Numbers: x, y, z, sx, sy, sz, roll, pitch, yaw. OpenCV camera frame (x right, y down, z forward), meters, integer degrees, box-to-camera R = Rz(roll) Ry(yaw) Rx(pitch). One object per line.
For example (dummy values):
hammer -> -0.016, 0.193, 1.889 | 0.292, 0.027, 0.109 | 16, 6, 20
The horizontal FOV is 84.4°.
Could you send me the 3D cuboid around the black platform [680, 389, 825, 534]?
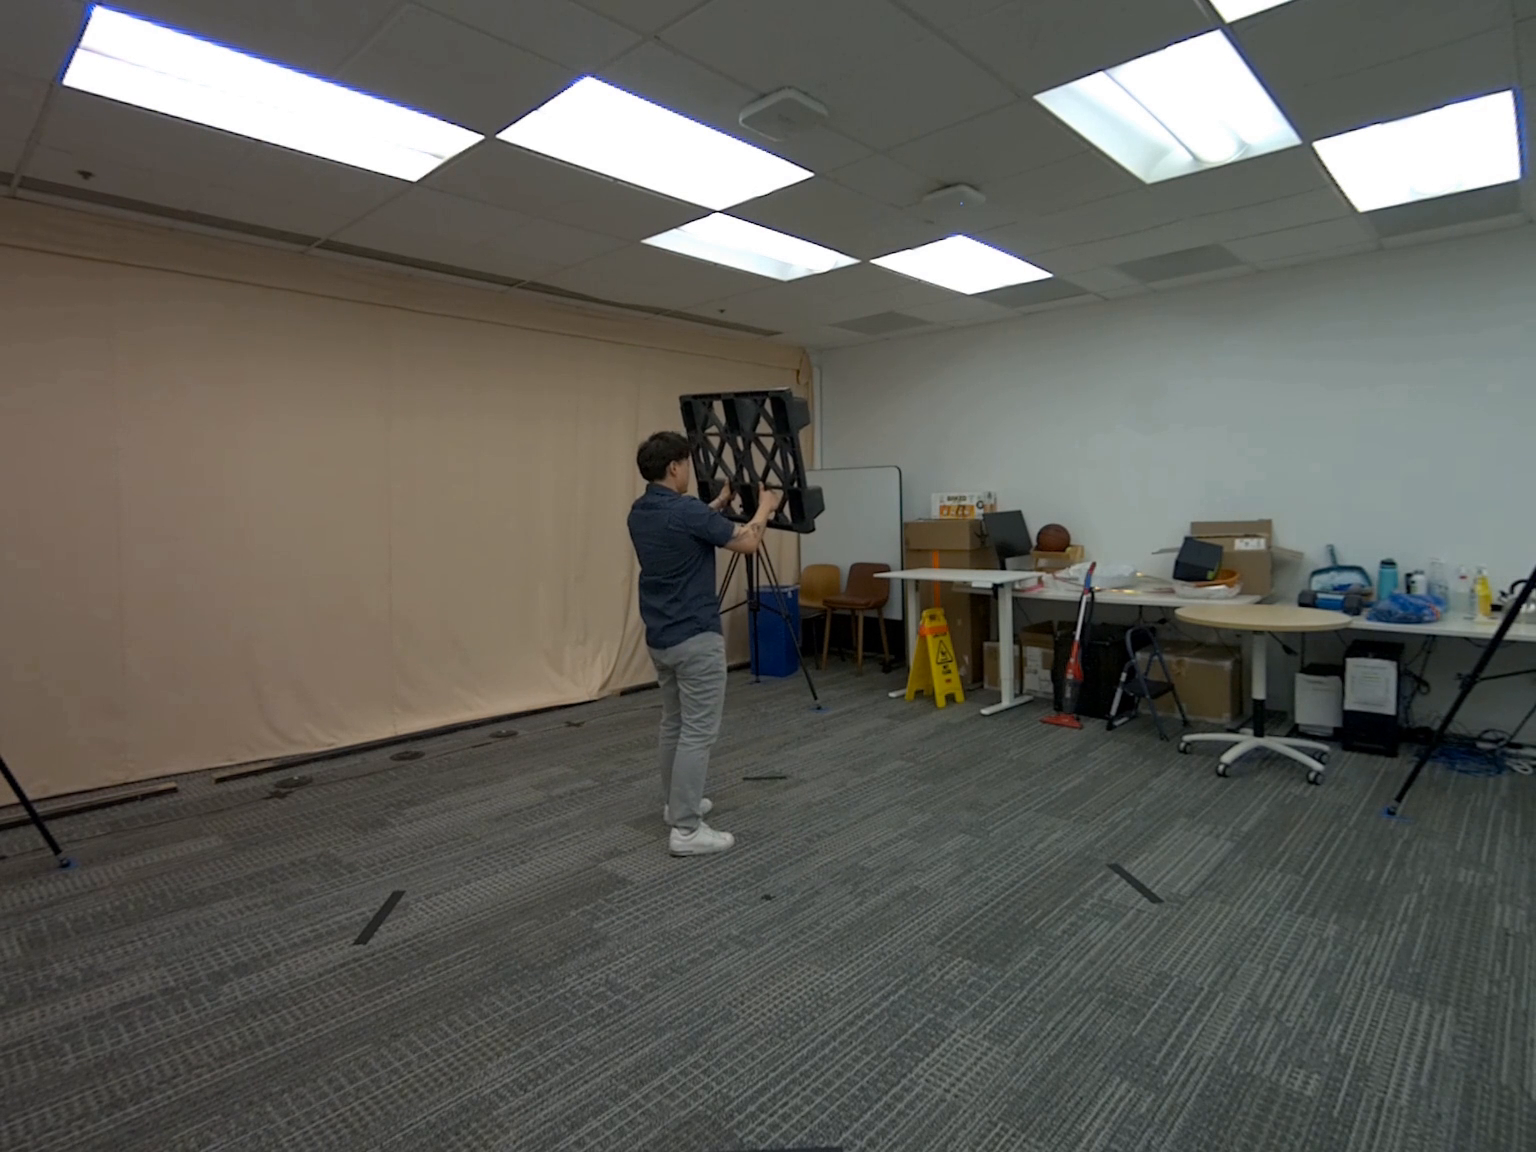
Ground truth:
black platform -> -0.077, -0.526, 3.716 | 0.140, 0.598, 0.833 | -19, 19, -33
